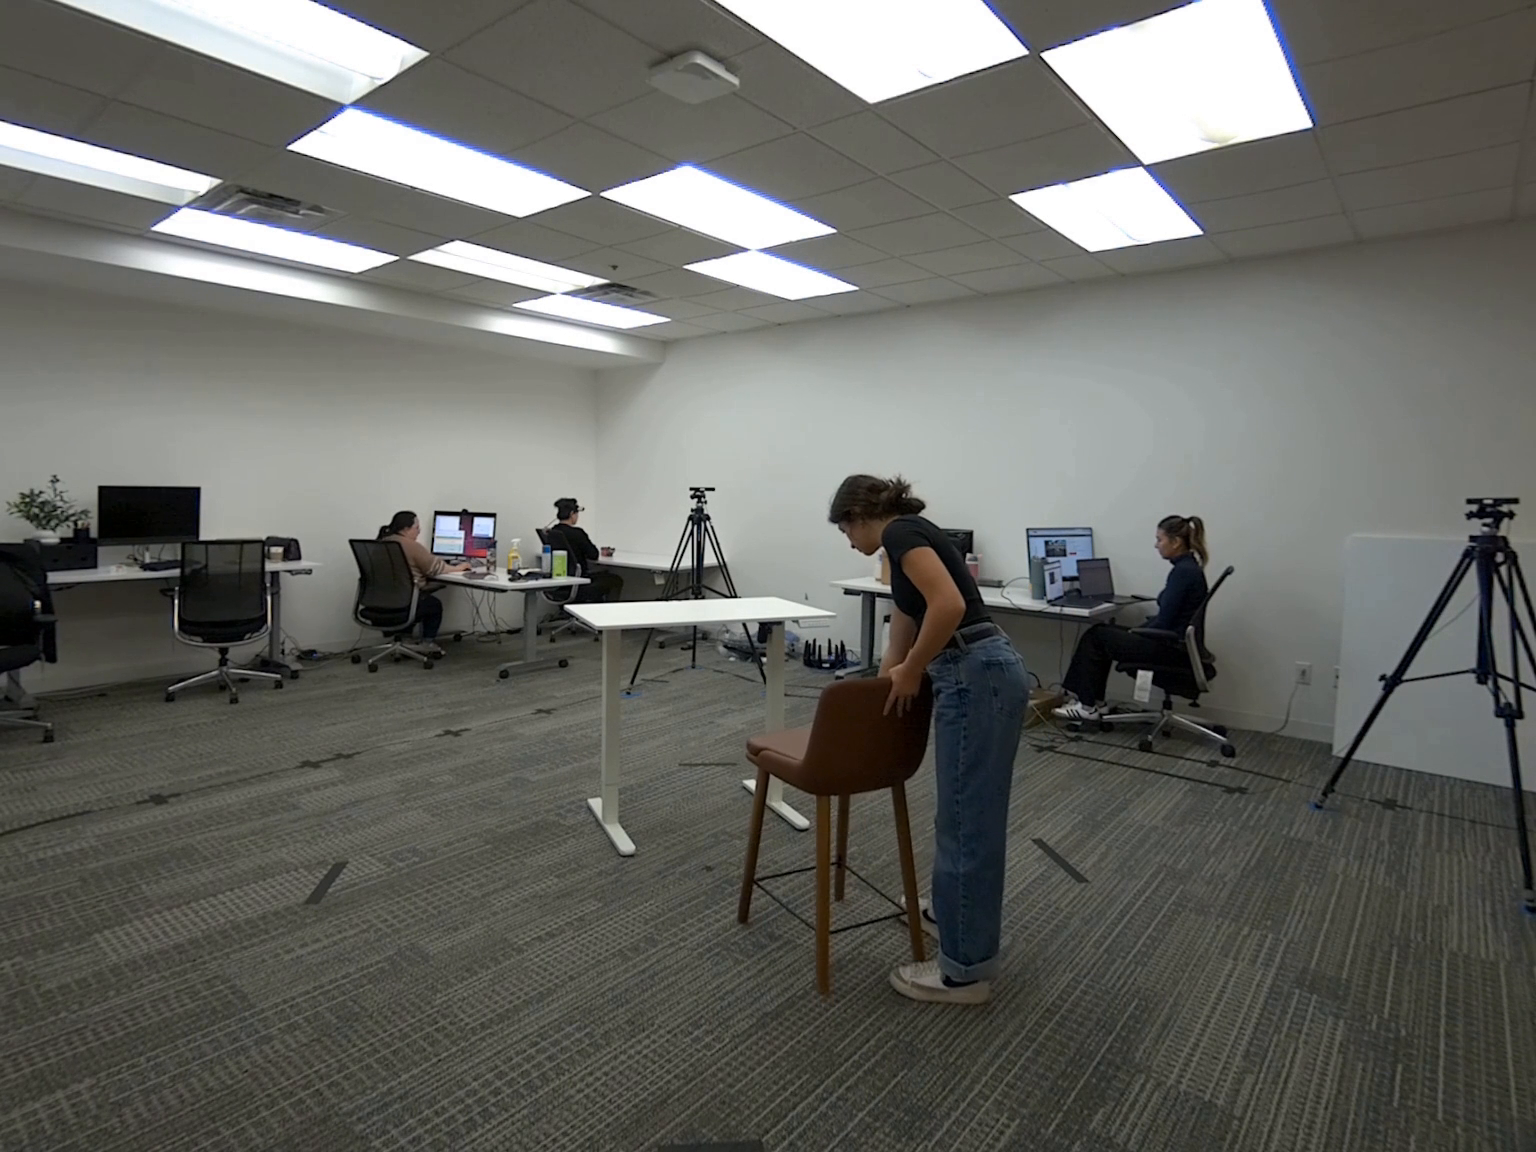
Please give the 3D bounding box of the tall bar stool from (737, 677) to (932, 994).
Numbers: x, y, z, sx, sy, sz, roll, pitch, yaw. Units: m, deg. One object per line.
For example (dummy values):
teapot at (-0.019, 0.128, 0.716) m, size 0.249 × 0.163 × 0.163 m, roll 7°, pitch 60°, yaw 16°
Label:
tall bar stool at (0.197, 0.687, 2.605) m, size 0.445 × 0.886 × 0.482 m, roll 0°, pitch 5°, yaw -29°
